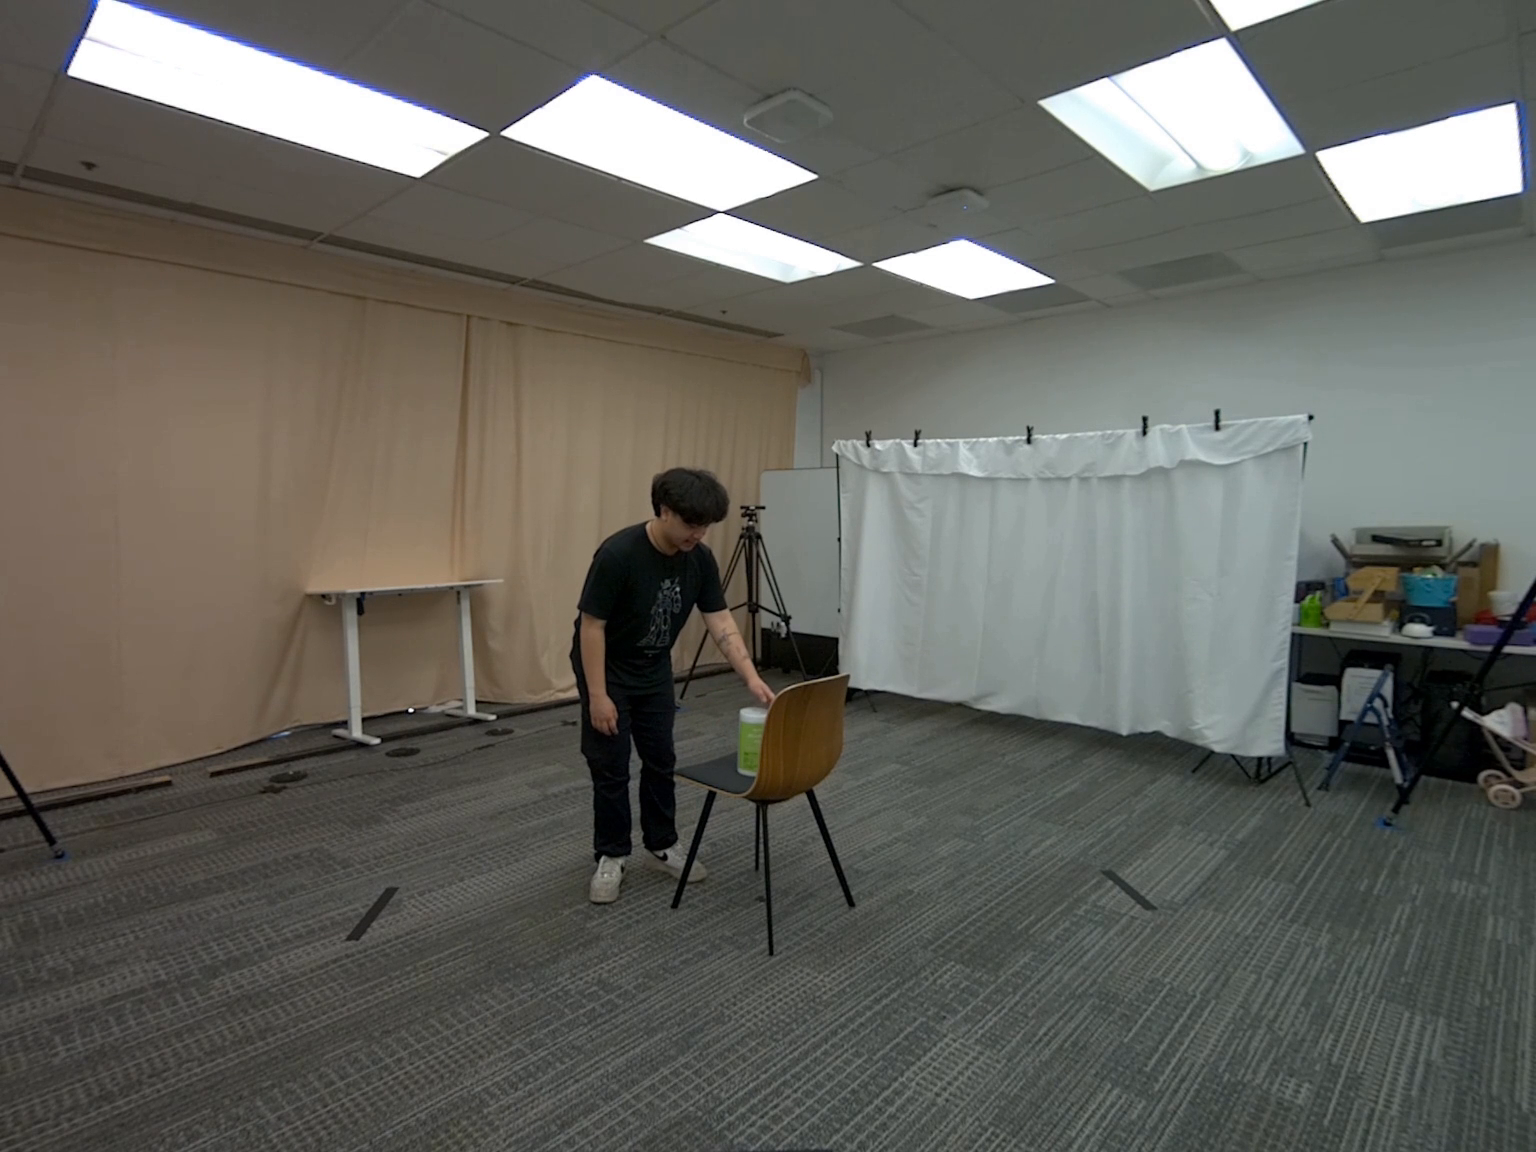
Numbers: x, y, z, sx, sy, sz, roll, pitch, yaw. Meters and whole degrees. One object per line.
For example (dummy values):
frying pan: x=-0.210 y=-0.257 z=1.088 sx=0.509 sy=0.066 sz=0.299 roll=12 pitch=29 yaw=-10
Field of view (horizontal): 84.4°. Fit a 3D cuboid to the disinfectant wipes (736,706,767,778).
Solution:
disinfectant wipes: x=-0.045 y=0.574 z=2.903 sx=0.118 sy=0.217 sz=0.118 roll=0 pitch=6 yaw=-2
